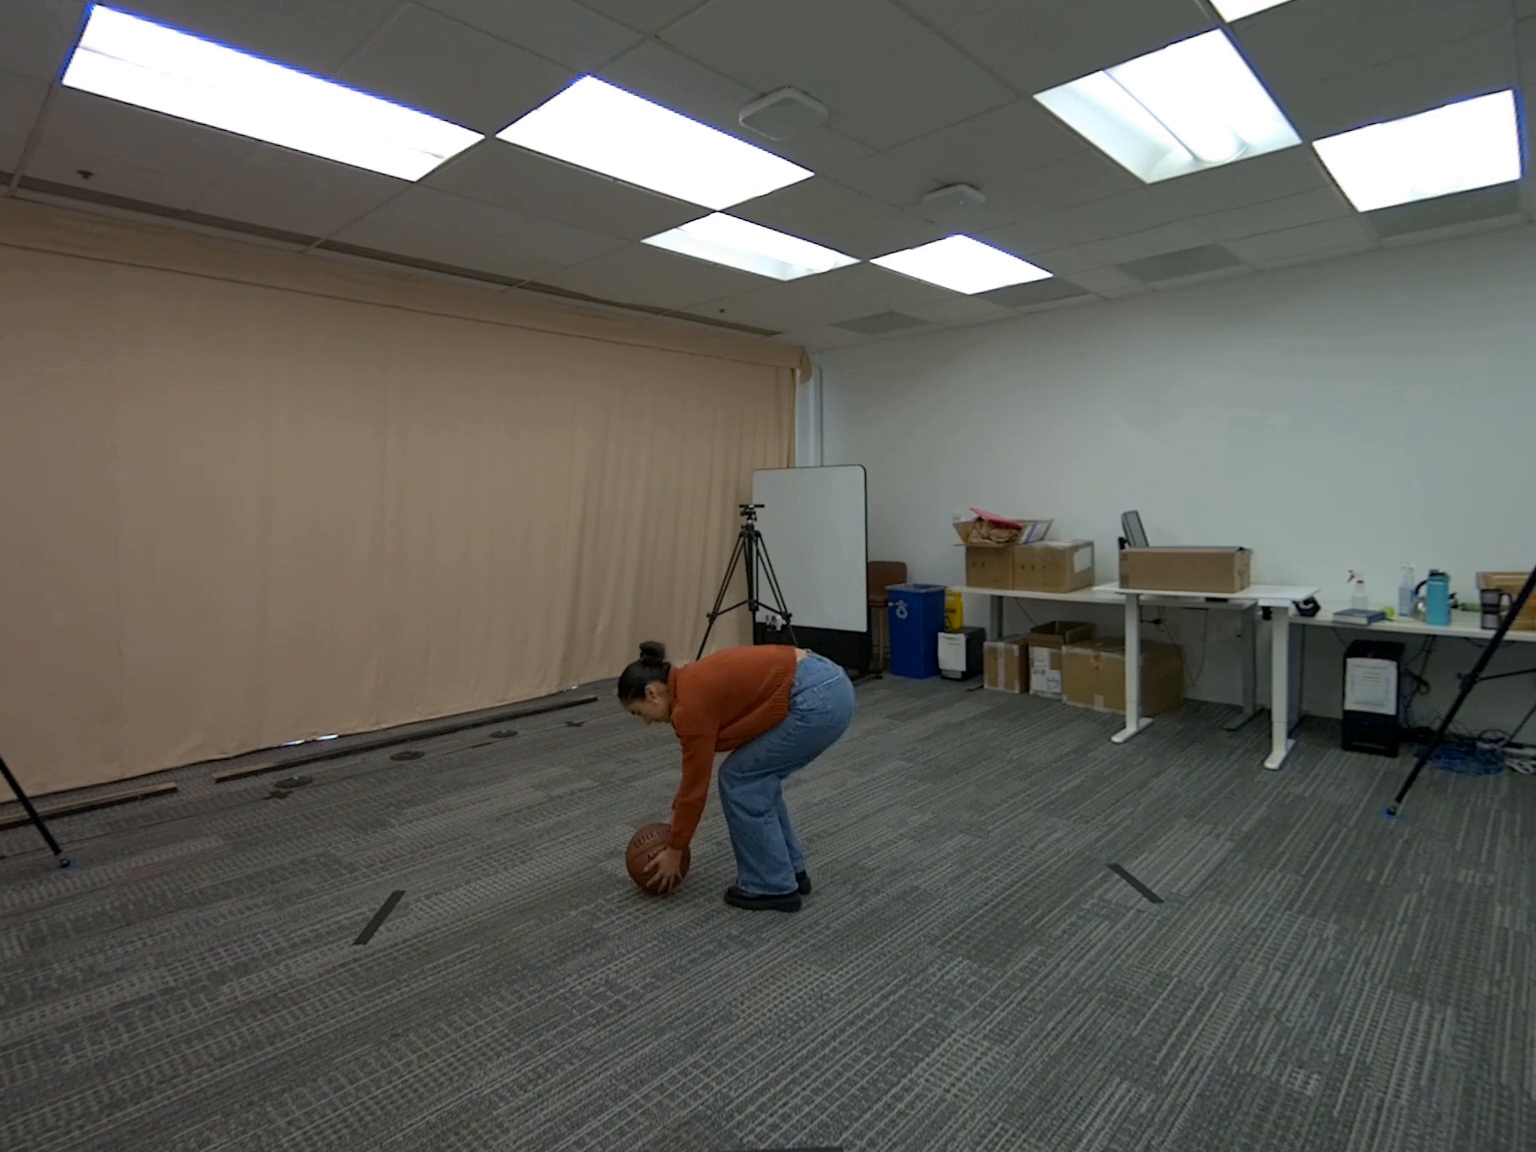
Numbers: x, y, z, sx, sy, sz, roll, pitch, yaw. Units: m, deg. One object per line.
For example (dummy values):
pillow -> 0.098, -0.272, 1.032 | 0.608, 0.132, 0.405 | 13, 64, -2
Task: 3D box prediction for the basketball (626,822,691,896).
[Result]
basketball -> -0.390, 0.995, 3.042 | 0.236, 0.235, 0.237 | -1, 4, -2
